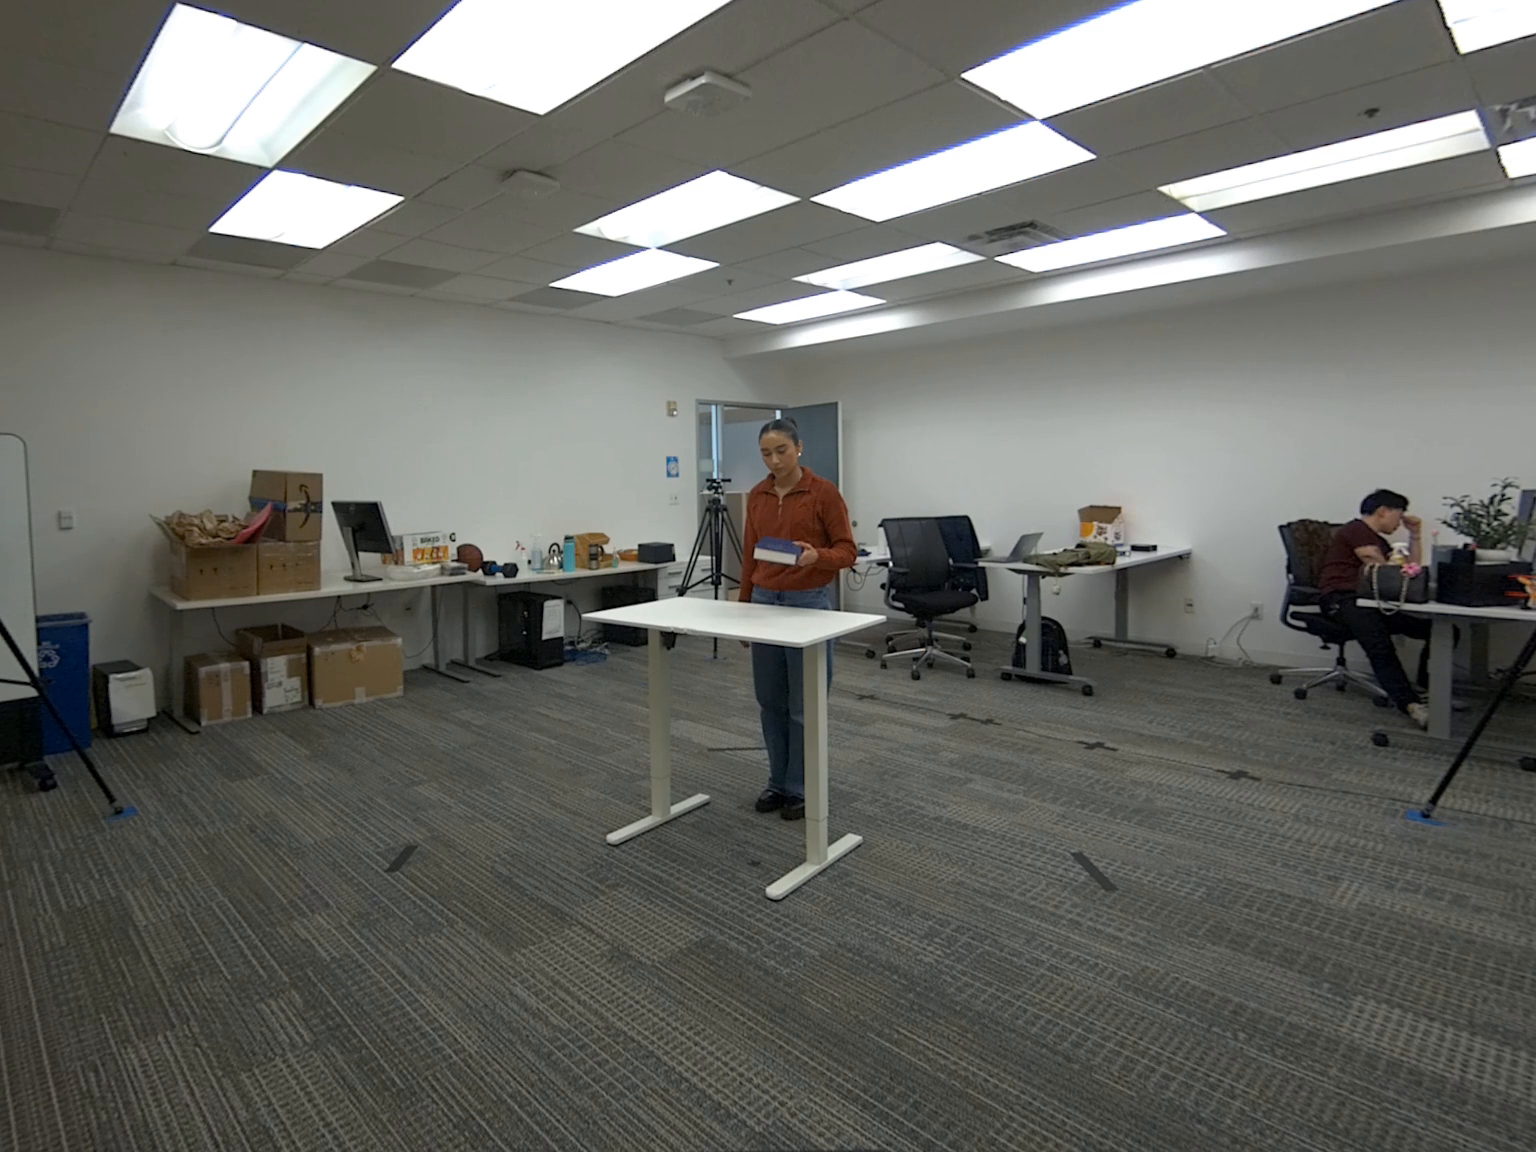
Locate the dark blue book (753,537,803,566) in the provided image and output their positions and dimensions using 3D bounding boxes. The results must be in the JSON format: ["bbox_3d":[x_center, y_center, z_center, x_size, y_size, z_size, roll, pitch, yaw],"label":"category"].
[{"bbox_3d":[0.039,-0.097,3.251,0.165,0.045,0.245,10,13,7],"label":"dark blue book"}]
